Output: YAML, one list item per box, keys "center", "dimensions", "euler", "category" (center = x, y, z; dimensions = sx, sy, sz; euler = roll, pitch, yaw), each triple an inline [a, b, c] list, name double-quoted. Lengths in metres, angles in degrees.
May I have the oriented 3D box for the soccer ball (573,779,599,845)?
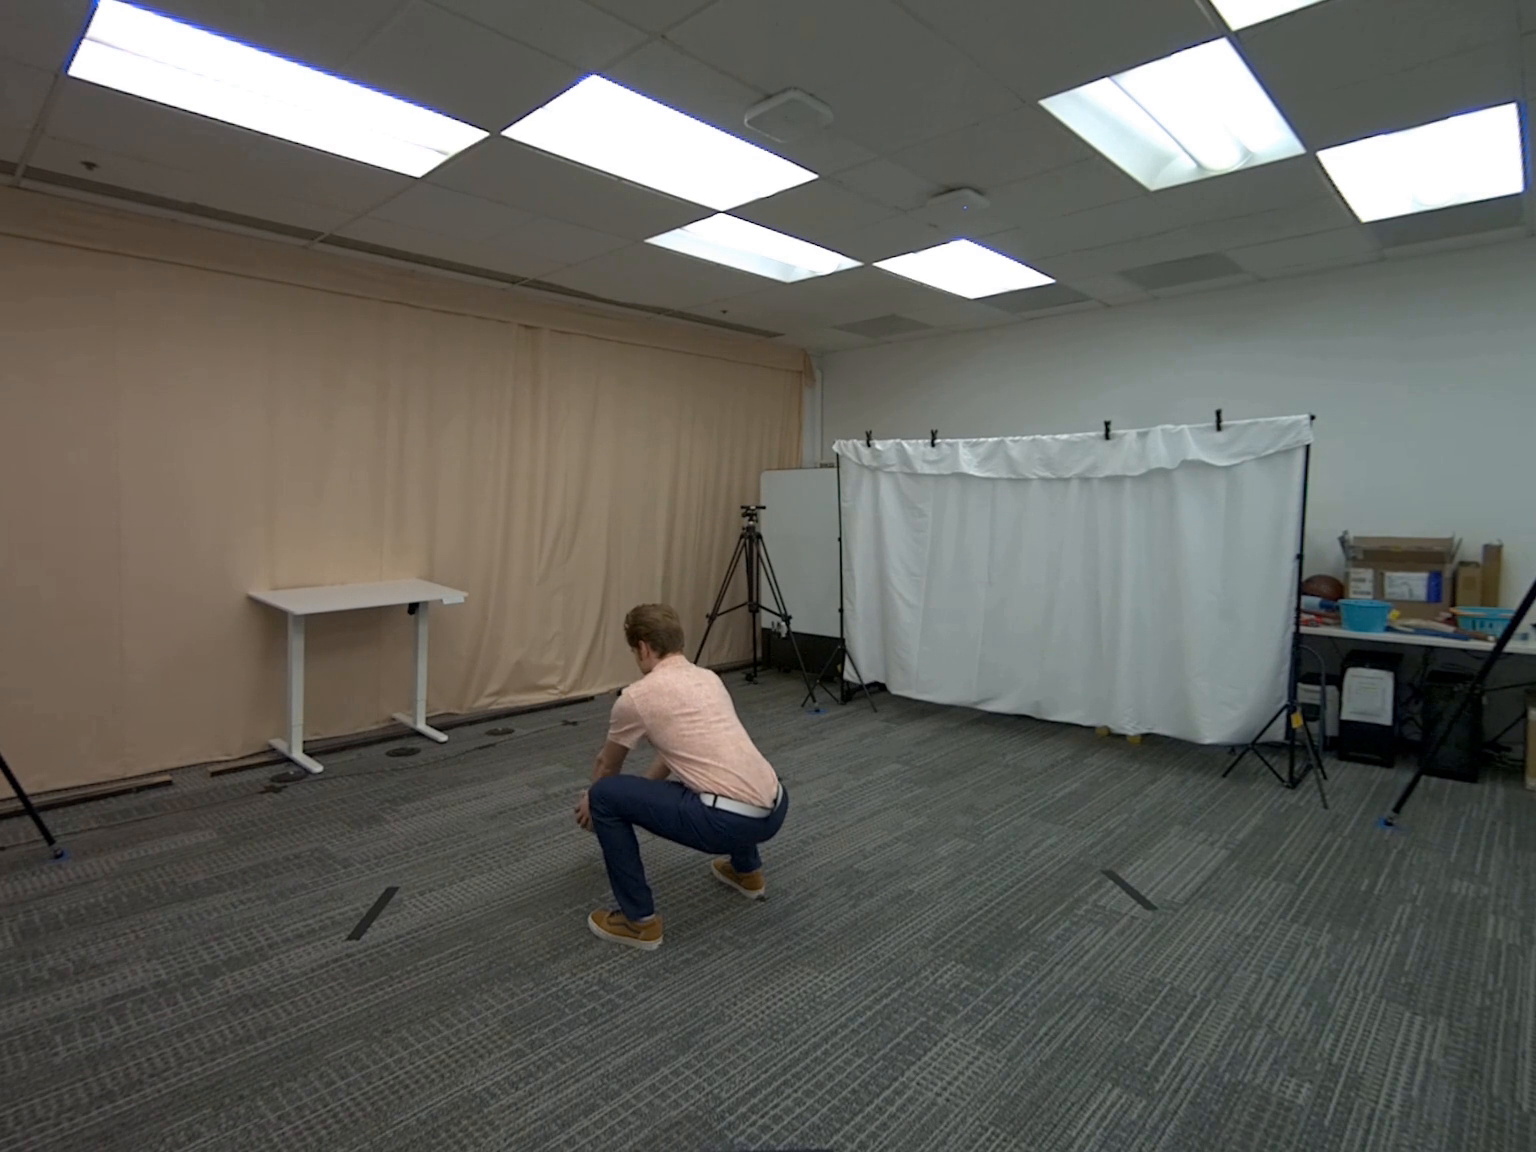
- center: [-0.640, 0.901, 3.254]
  dimensions: [0.187, 0.187, 0.188]
  euler: [0, 4, -2]
  category: "soccer ball"
